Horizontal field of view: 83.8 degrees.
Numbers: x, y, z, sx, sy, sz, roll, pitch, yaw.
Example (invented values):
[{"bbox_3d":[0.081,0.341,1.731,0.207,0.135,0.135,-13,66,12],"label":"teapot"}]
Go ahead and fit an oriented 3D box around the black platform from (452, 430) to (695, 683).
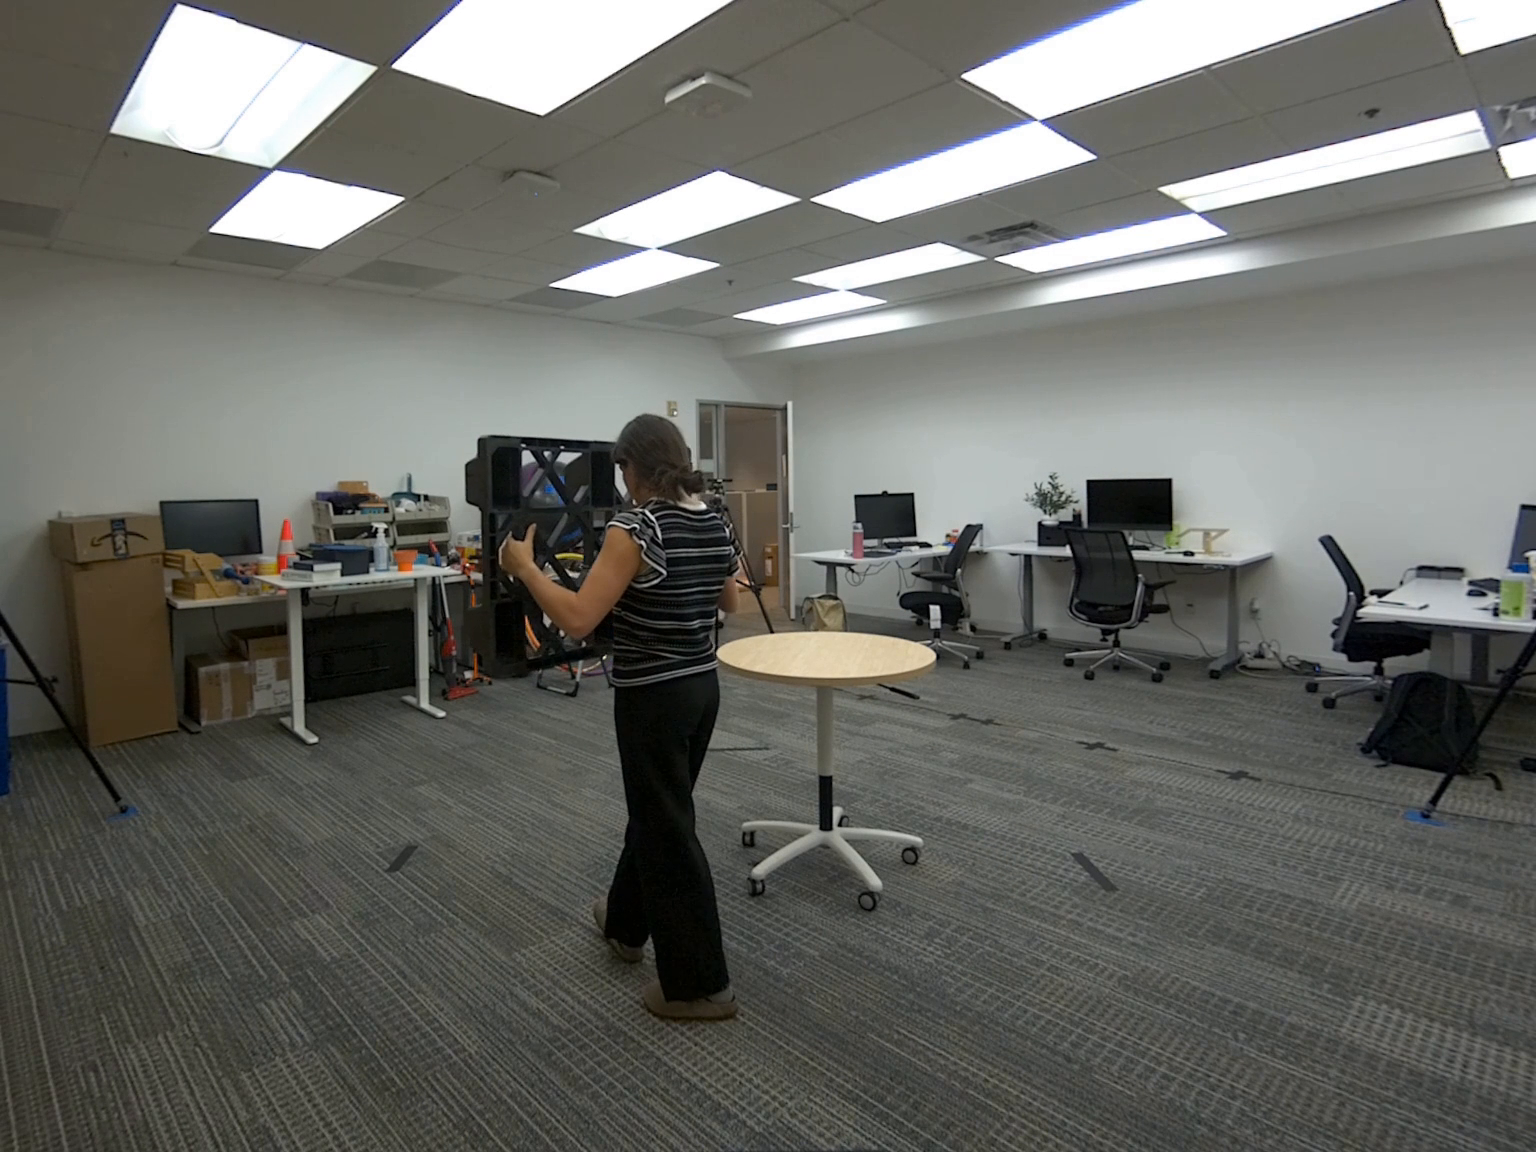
[{"bbox_3d":[-0.503,-0.082,2.422,0.147,0.604,0.786,0,4,33],"label":"black platform"}]
